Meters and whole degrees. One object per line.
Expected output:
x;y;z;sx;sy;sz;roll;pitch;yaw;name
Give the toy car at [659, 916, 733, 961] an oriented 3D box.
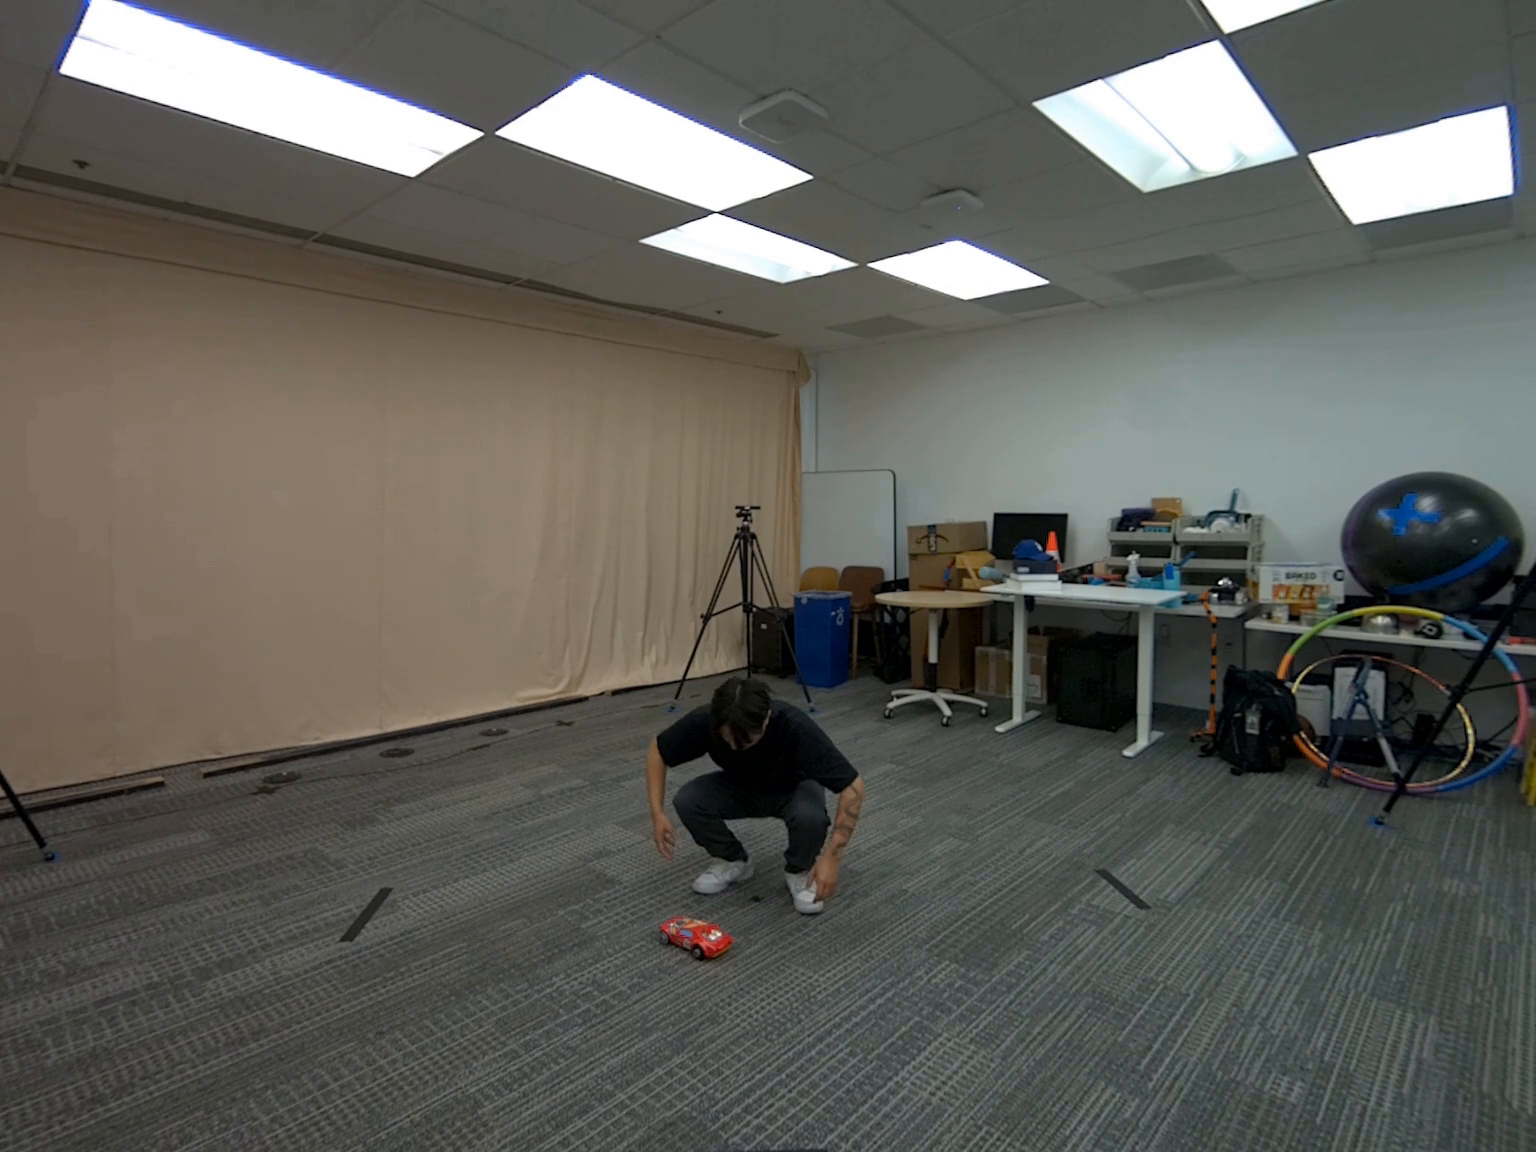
-0.226;1.141;2.654;0.262;0.083;0.126;-8;-2;39;toy car
